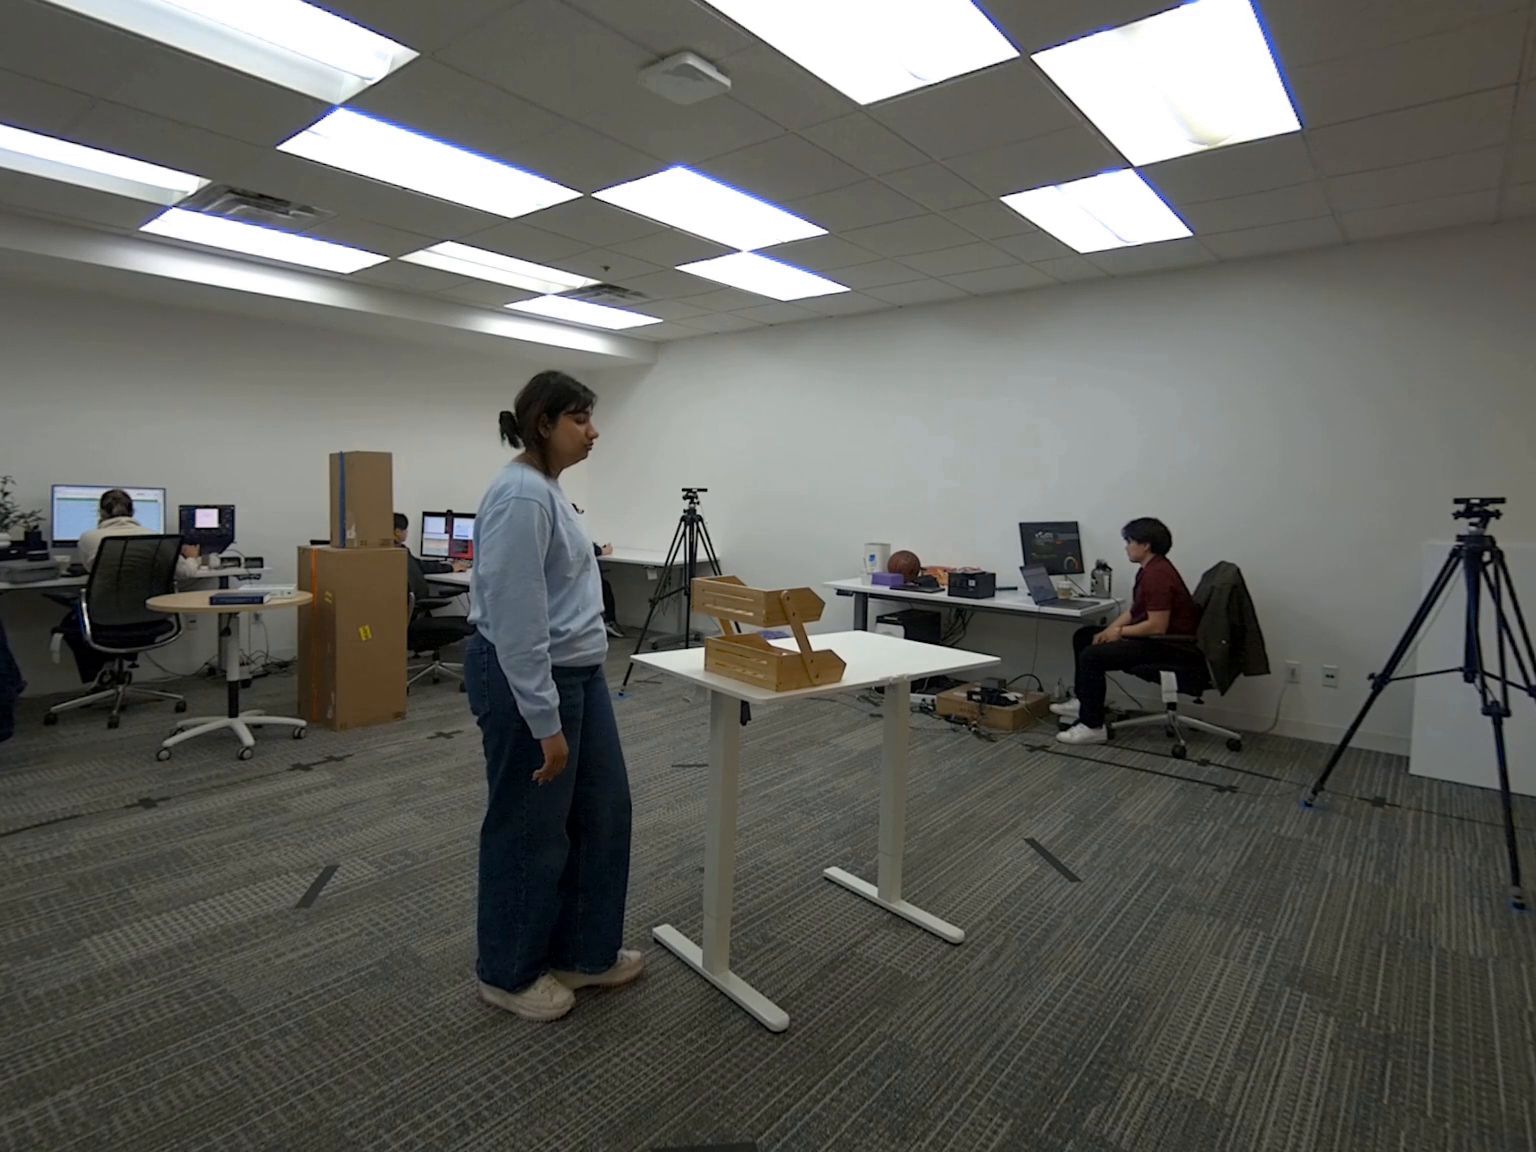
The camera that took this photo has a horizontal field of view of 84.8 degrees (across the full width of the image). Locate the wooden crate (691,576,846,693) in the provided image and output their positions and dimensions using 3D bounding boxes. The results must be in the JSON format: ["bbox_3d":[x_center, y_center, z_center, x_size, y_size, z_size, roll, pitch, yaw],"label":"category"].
[{"bbox_3d":[-0.005,0.140,2.294,0.293,0.272,0.336,-3,7,-41],"label":"wooden crate"}]
